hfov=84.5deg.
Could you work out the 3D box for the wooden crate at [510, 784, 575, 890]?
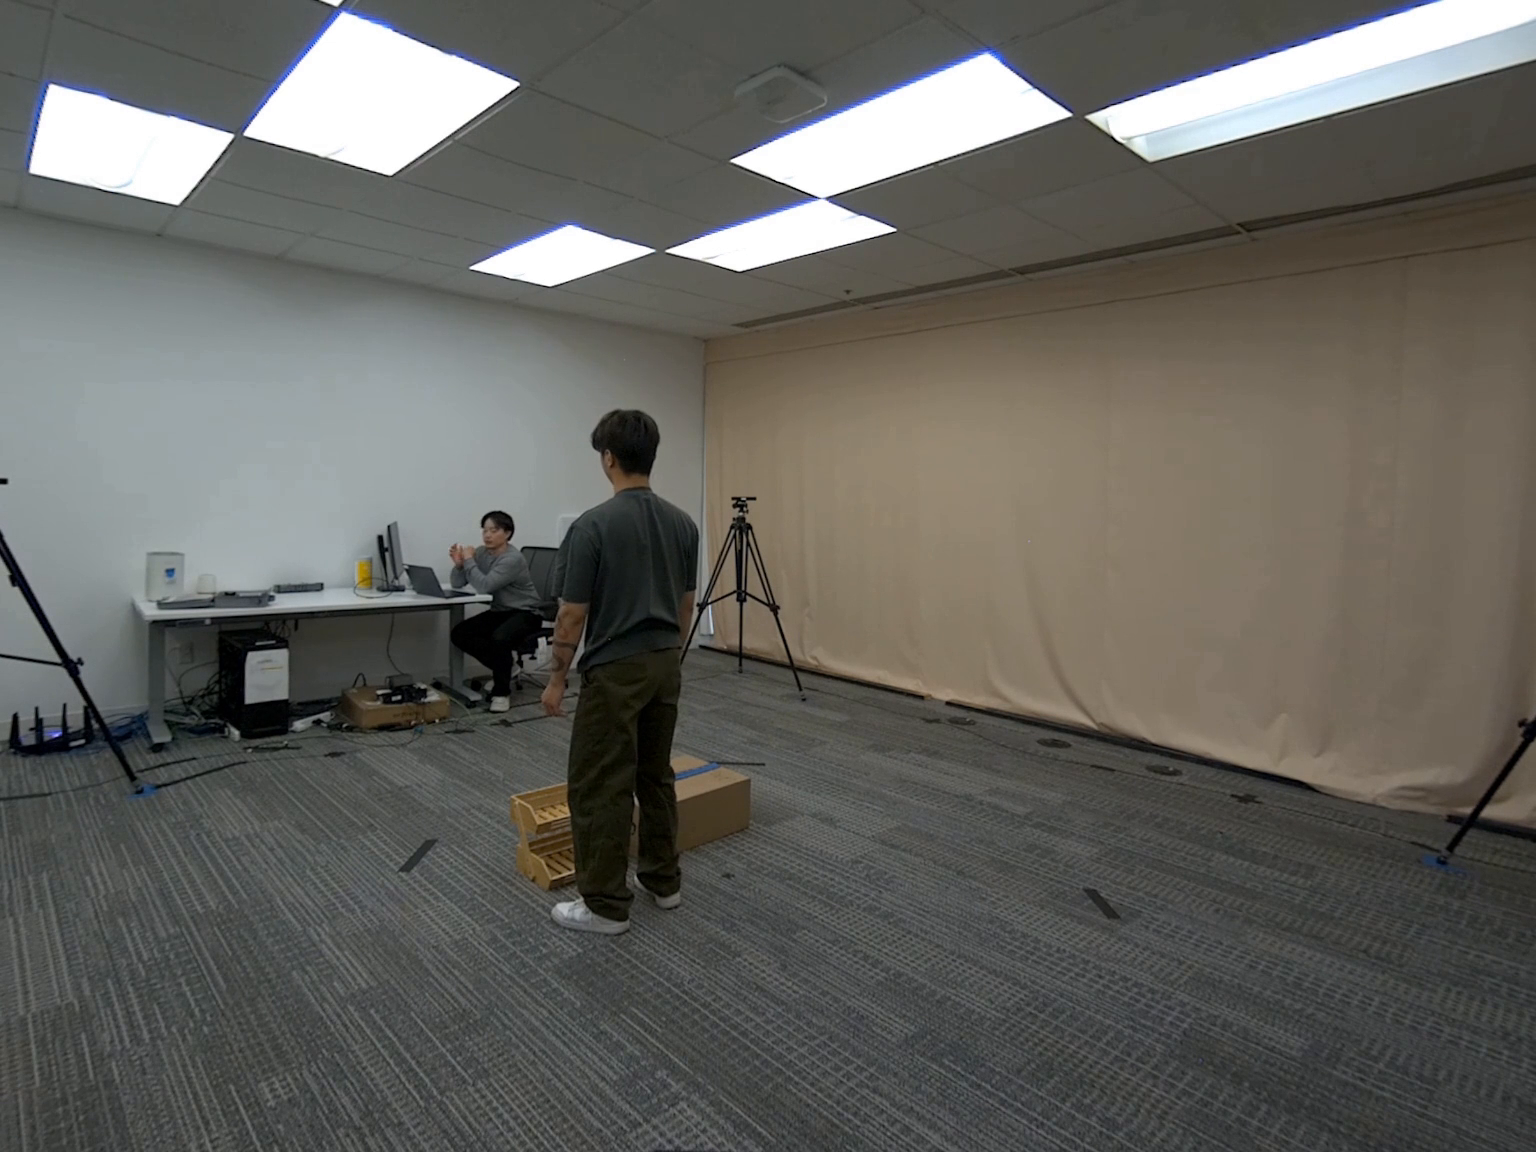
[{"bbox_3d":[-0.760,0.953,3.140,0.317,0.272,0.310,-4,7,-43],"label":"wooden crate"}]
